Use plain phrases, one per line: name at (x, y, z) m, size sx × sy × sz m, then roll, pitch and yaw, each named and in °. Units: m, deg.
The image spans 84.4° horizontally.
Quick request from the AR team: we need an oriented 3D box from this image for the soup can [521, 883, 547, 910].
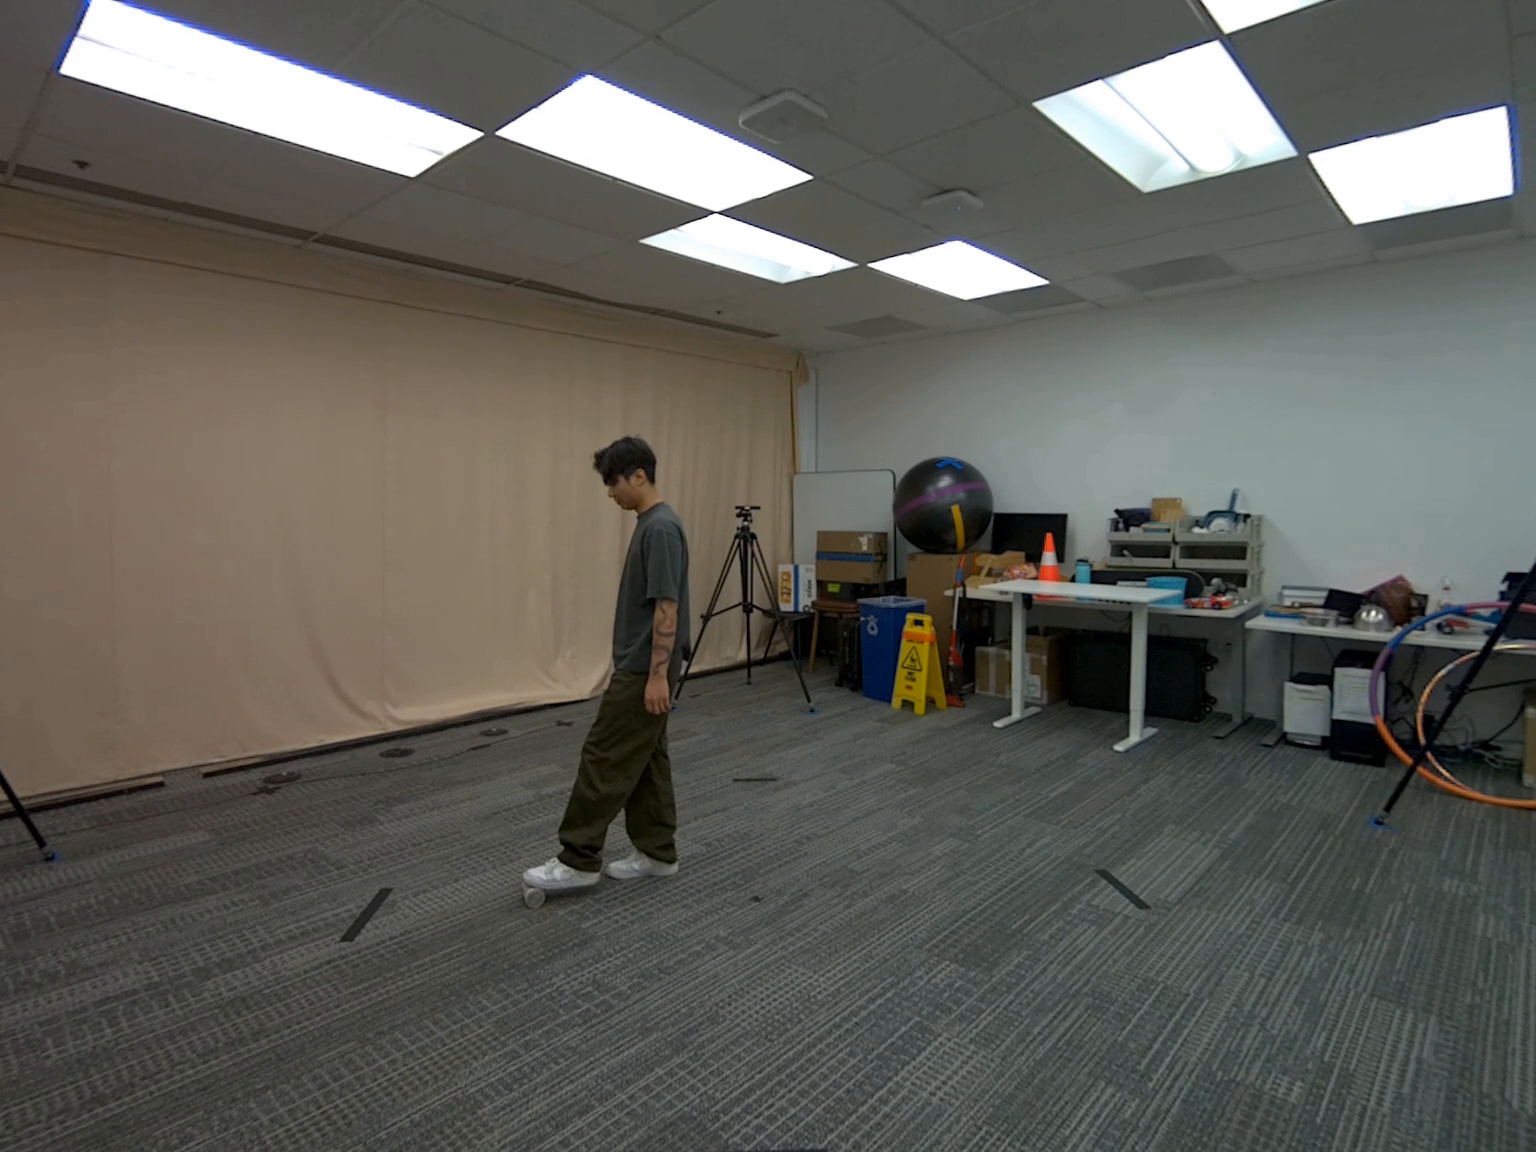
soup can at (-0.831, 1.121, 2.980) m, size 0.066 × 0.067 × 0.124 m, roll -1°, pitch 3°, yaw -20°
